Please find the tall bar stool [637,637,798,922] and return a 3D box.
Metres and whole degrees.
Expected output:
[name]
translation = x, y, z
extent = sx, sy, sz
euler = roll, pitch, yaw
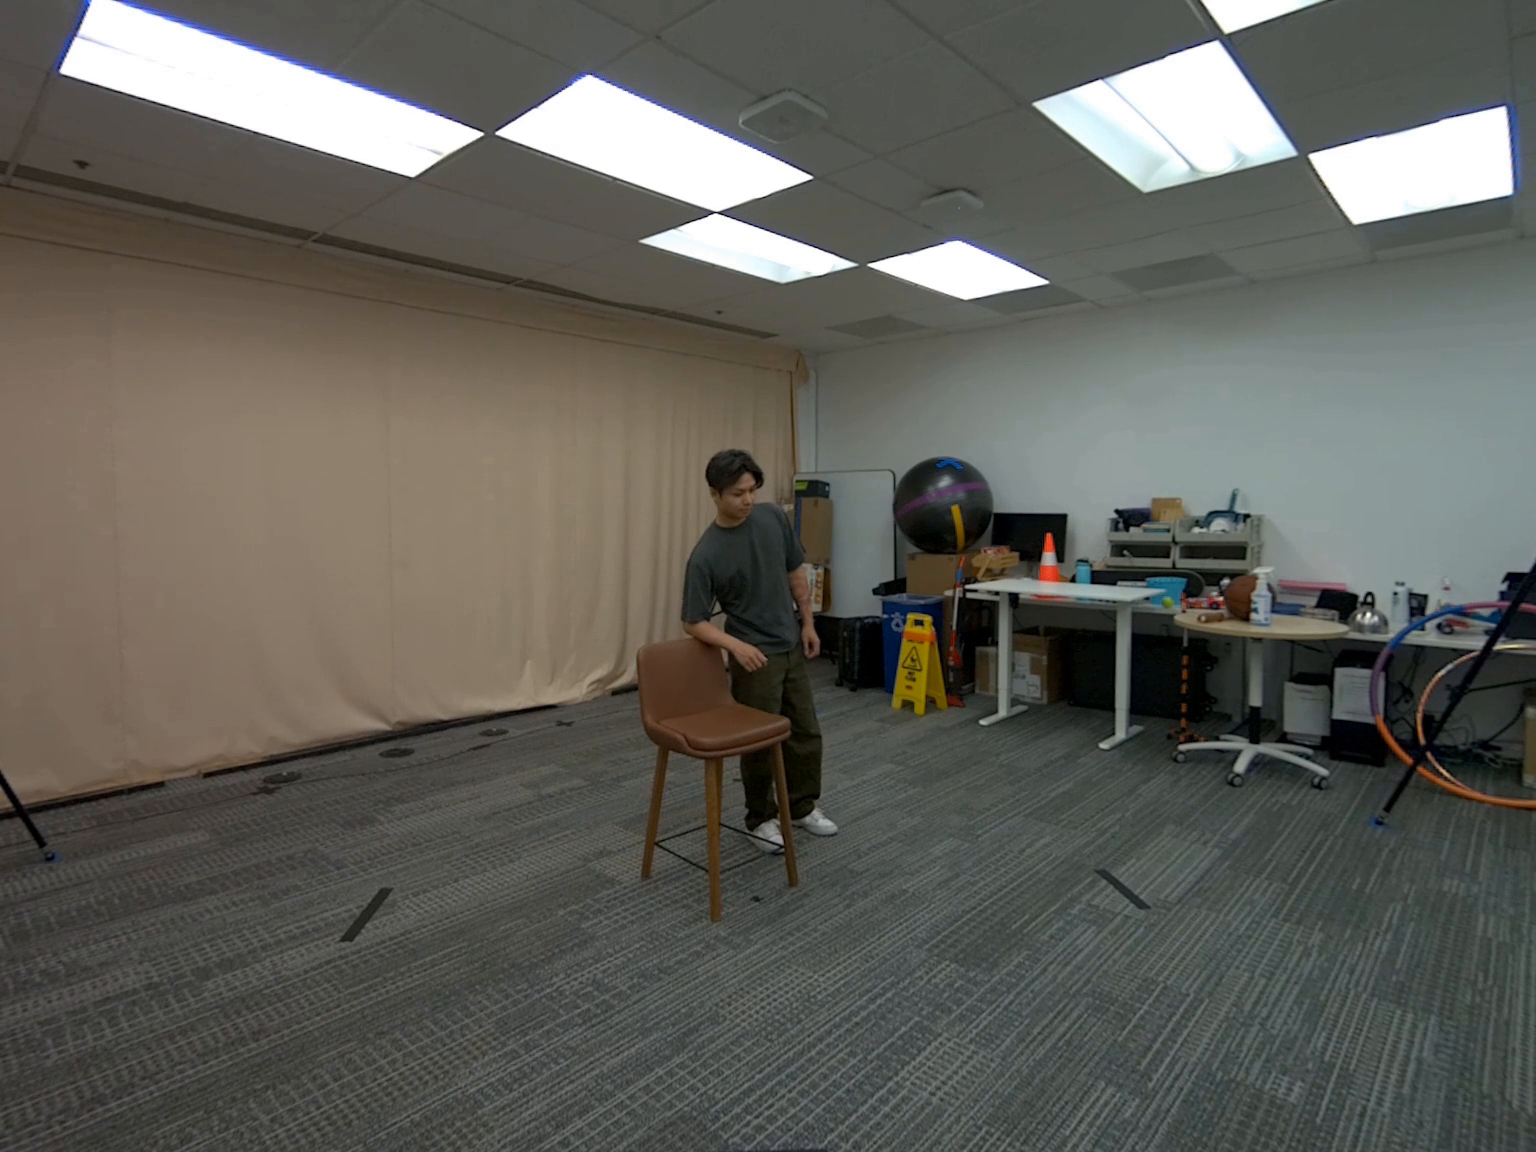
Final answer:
[tall bar stool]
translation = -0.200, 0.700, 3.095
extent = 0.442, 0.889, 0.483
euler = -3, 3, -42
